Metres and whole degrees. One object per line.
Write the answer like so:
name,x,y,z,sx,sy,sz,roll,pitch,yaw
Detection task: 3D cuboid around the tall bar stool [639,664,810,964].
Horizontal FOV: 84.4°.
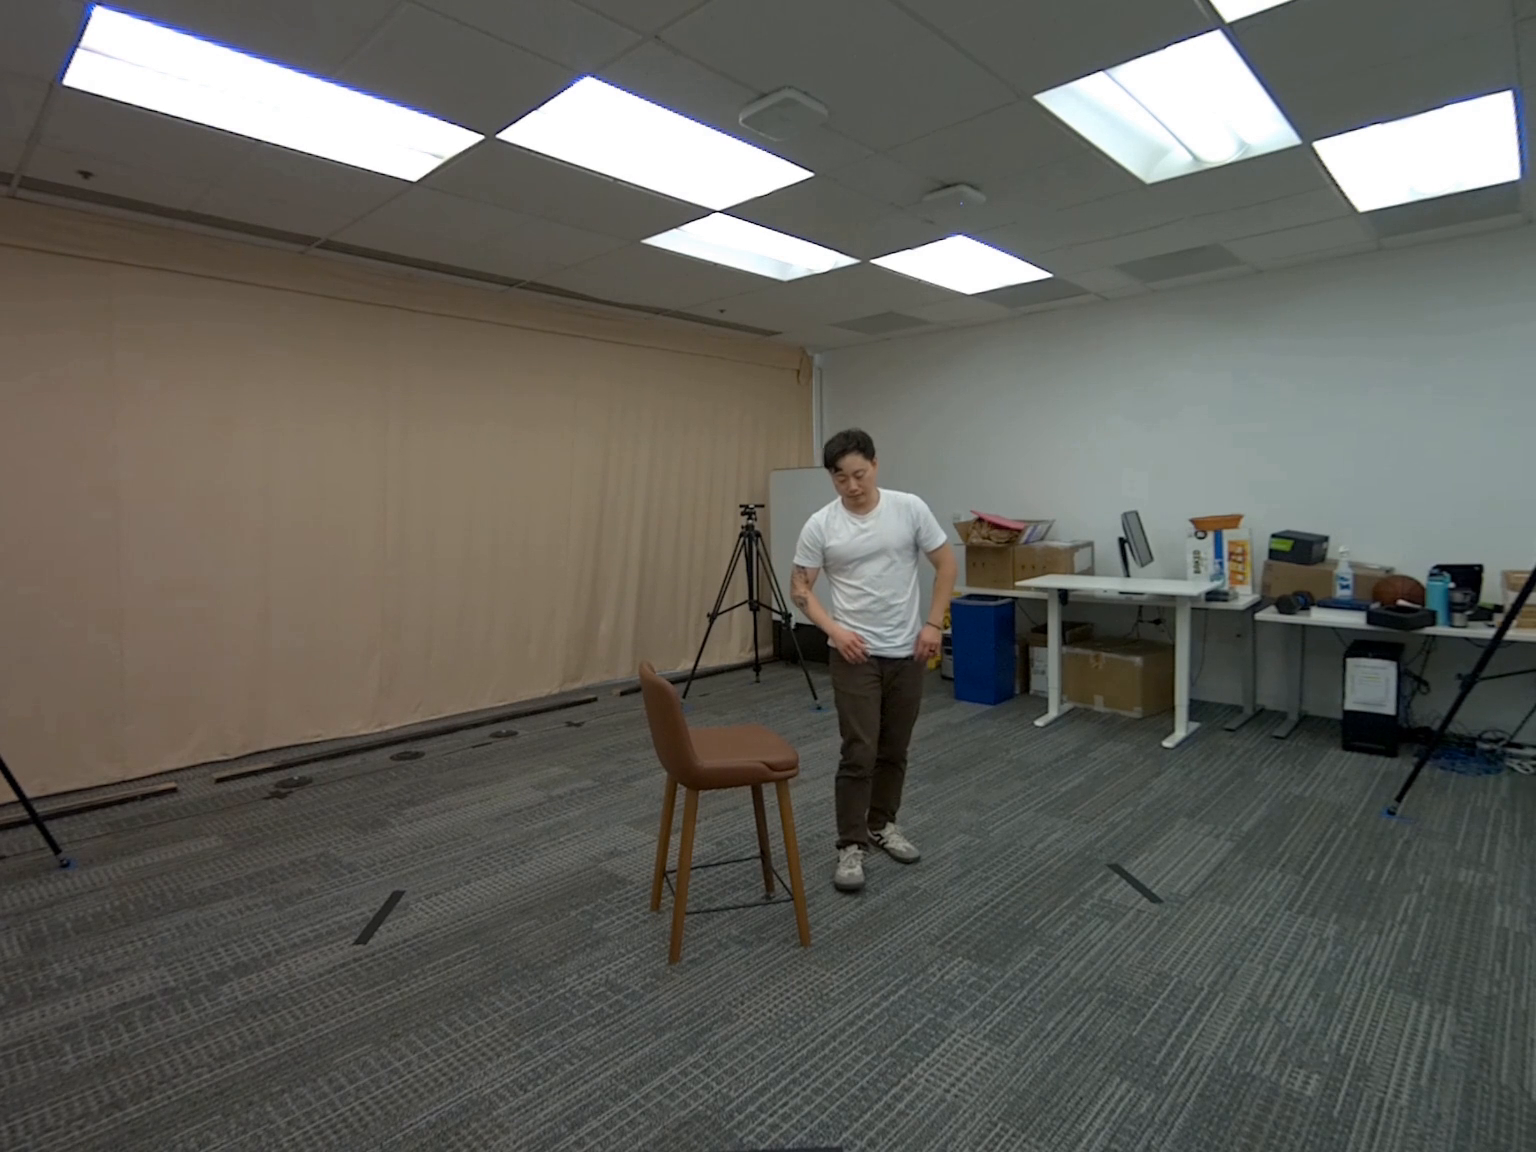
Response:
tall bar stool,-0.150,0.726,2.765,0.460,0.888,0.465,-3,3,-16
